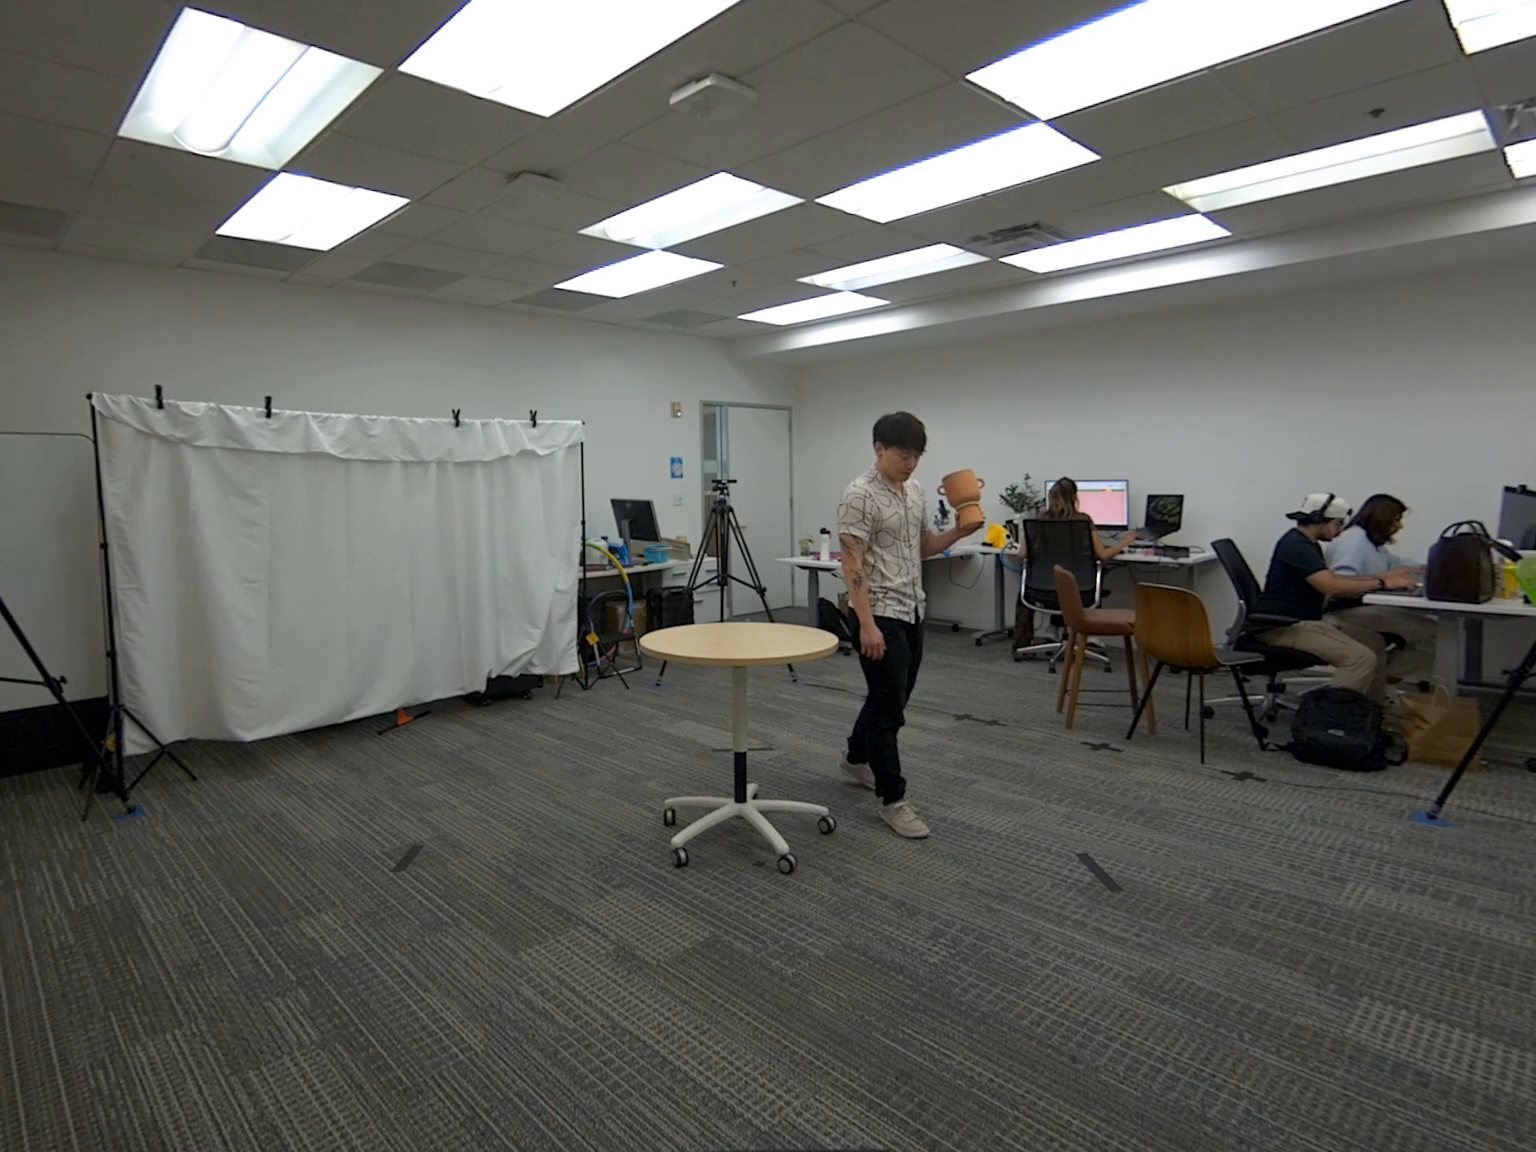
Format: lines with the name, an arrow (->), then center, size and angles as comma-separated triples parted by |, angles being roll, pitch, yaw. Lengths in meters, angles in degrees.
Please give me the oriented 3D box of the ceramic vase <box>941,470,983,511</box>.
ceramic vase -> 0.795, -0.305, 3.460 | 0.161, 0.224, 0.130 | -23, -20, 35
